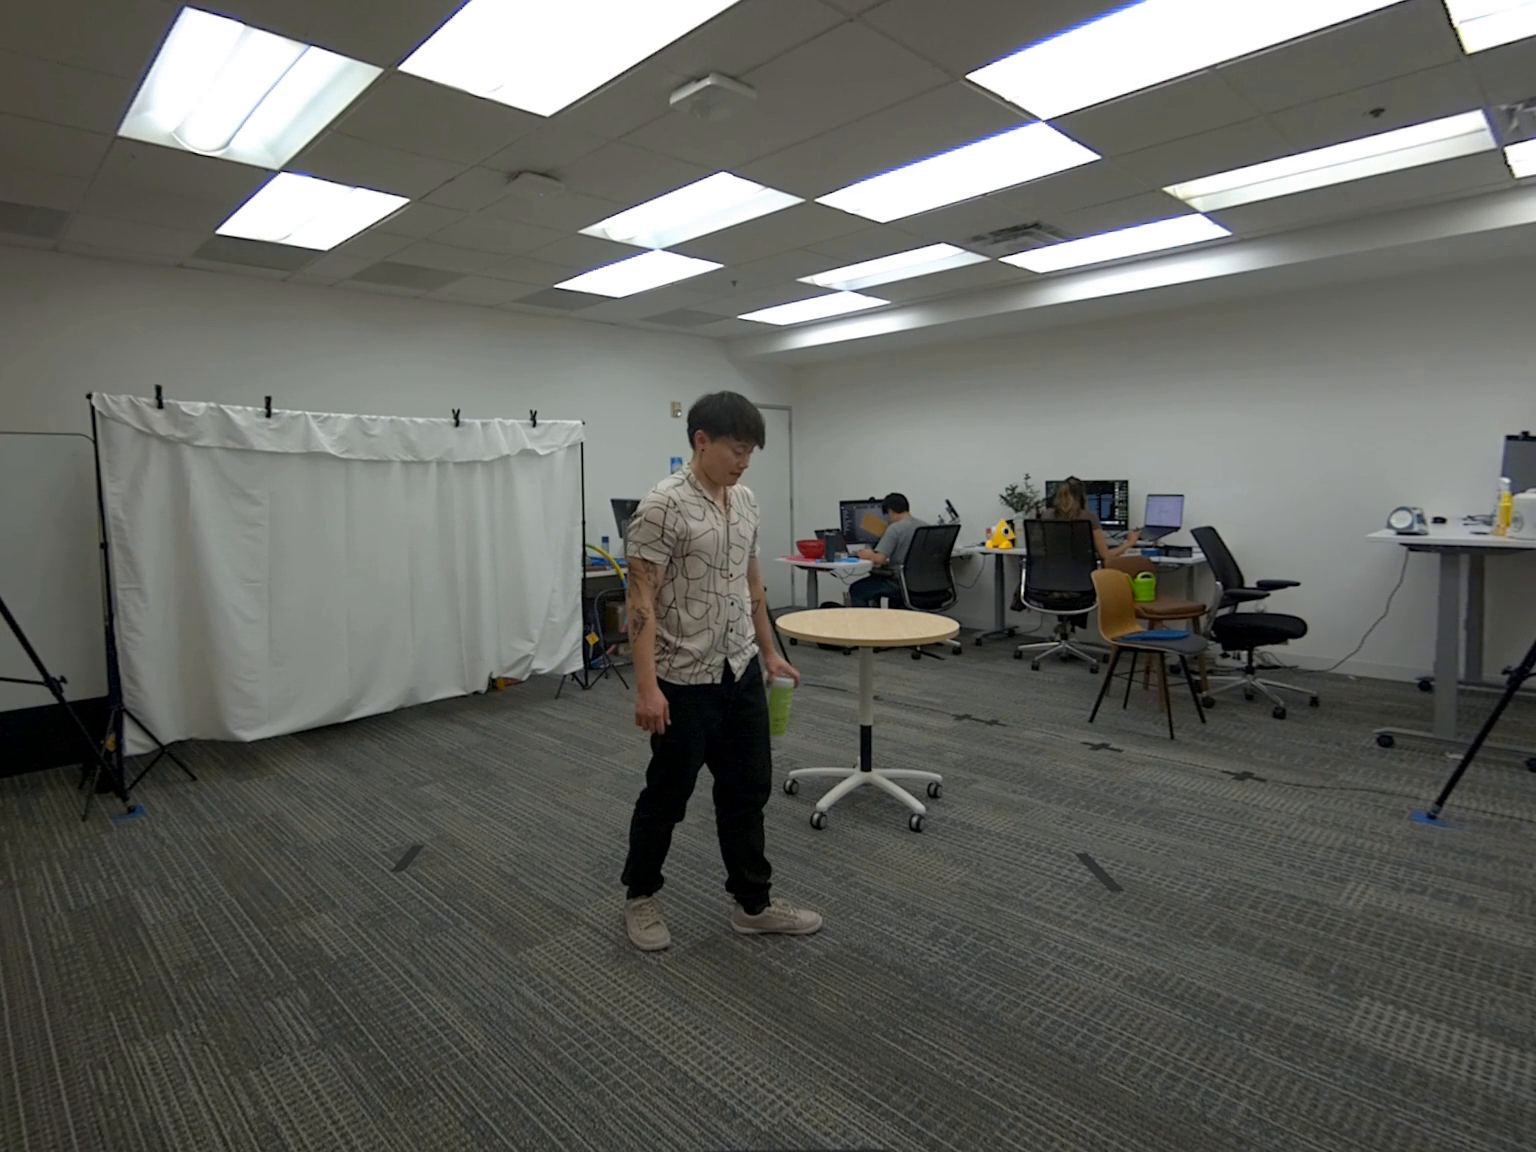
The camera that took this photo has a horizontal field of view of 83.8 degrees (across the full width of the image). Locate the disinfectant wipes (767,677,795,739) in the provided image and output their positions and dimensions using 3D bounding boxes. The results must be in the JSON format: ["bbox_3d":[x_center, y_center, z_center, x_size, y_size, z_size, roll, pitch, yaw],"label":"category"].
[{"bbox_3d":[0.025,0.428,2.813,0.117,0.216,0.119,7,7,-3],"label":"disinfectant wipes"}]
